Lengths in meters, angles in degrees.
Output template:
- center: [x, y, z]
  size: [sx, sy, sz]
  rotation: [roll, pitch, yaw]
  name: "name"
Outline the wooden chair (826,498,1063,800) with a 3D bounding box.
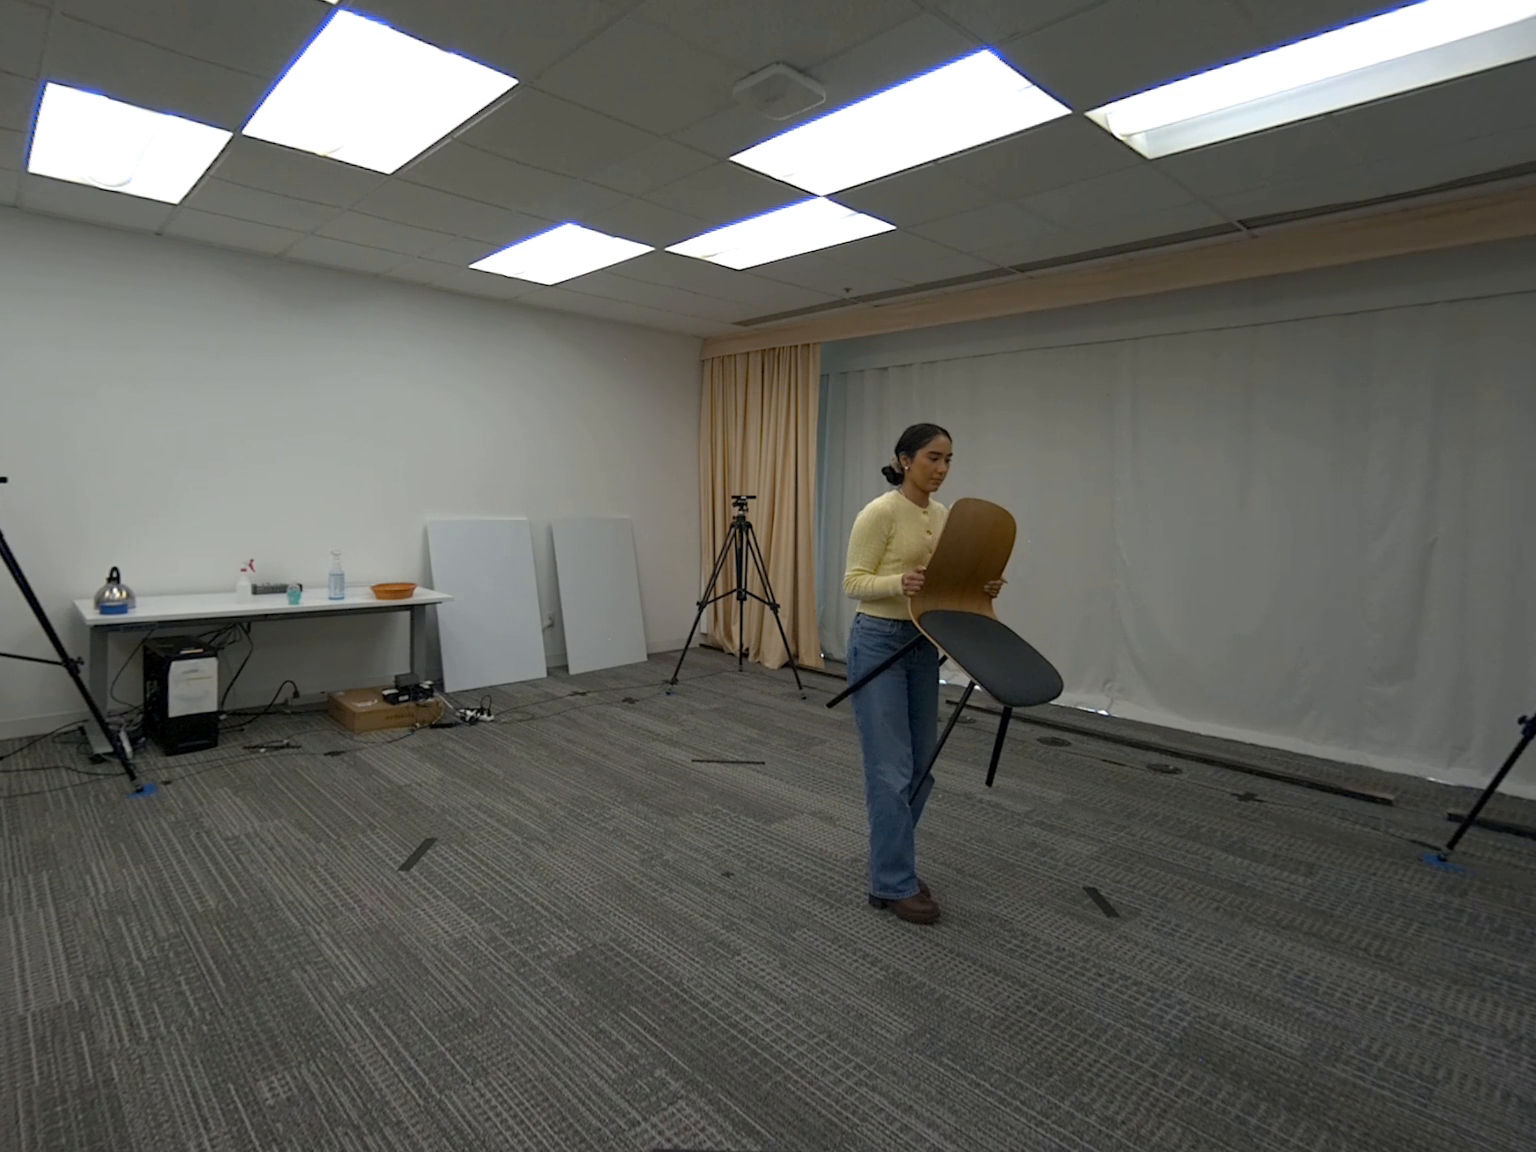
- center: [0.666, 0.255, 2.734]
  size: [0.466, 0.871, 0.540]
  rotation: [4, 28, -43]
  name: "wooden chair"
